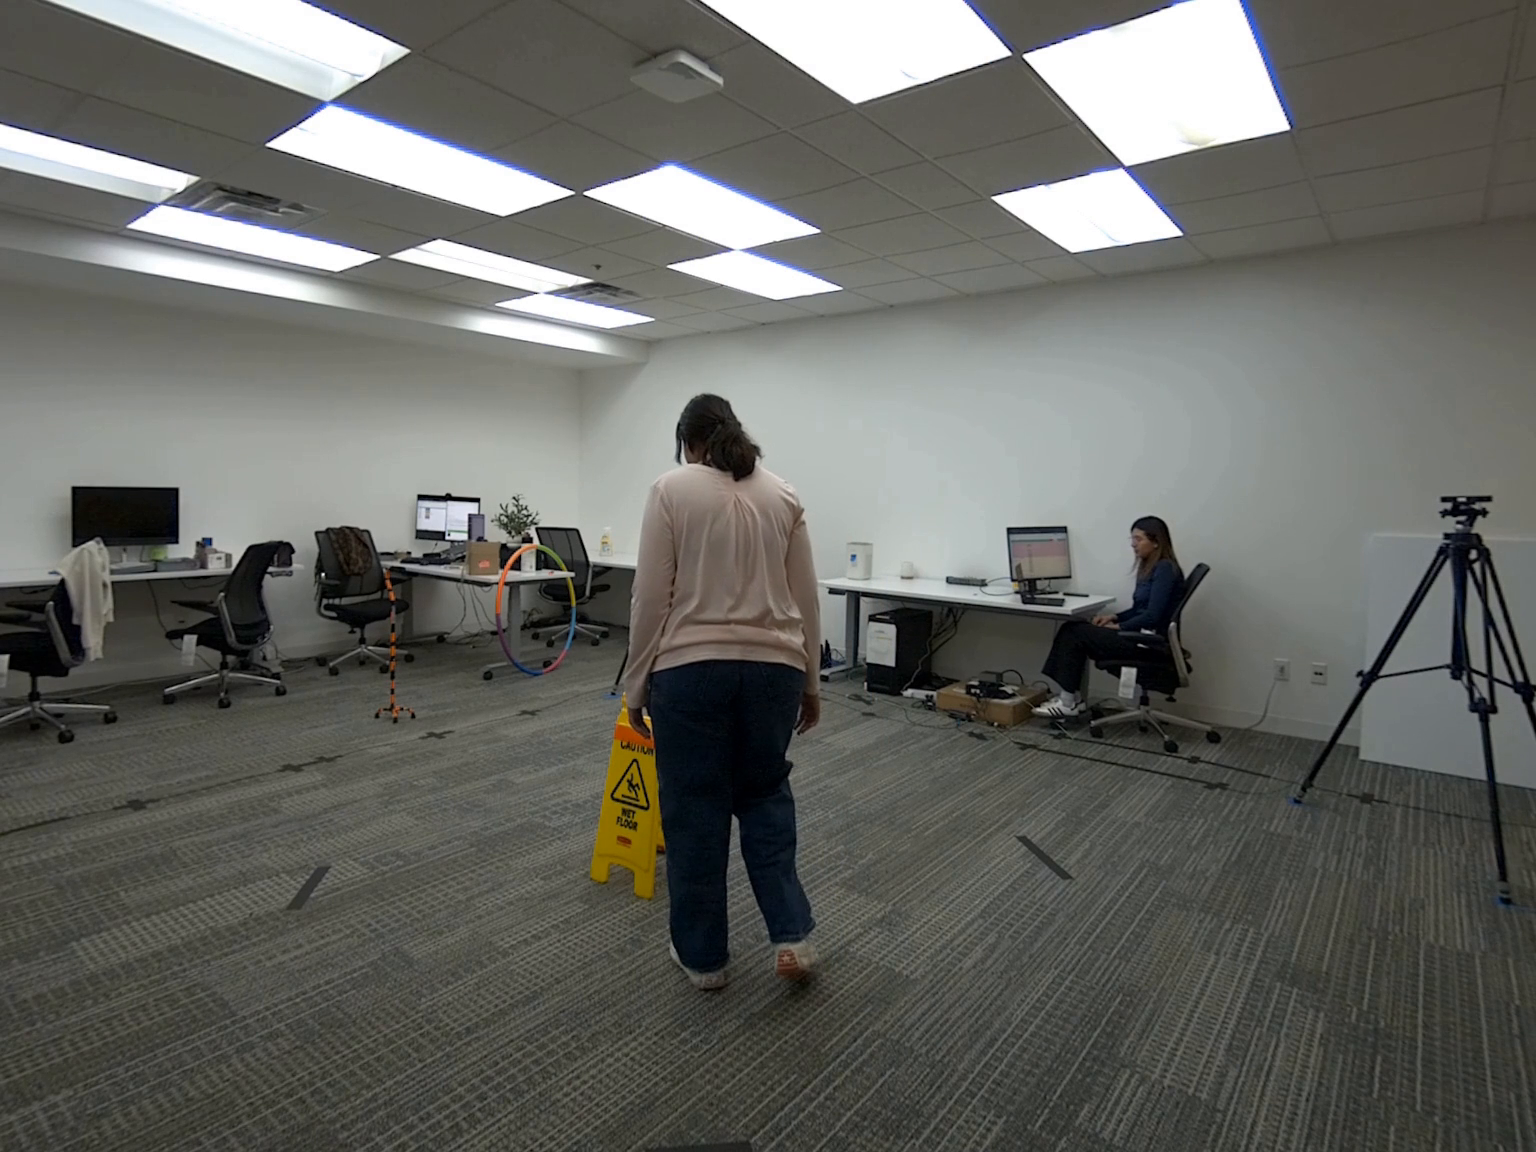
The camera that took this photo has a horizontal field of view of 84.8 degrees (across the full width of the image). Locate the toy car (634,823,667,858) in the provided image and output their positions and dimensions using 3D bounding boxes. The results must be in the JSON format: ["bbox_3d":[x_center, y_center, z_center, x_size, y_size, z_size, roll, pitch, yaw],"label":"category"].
[{"bbox_3d":[-0.371,1.015,3.255,0.258,0.083,0.128,-9,0,15],"label":"toy car"}]
